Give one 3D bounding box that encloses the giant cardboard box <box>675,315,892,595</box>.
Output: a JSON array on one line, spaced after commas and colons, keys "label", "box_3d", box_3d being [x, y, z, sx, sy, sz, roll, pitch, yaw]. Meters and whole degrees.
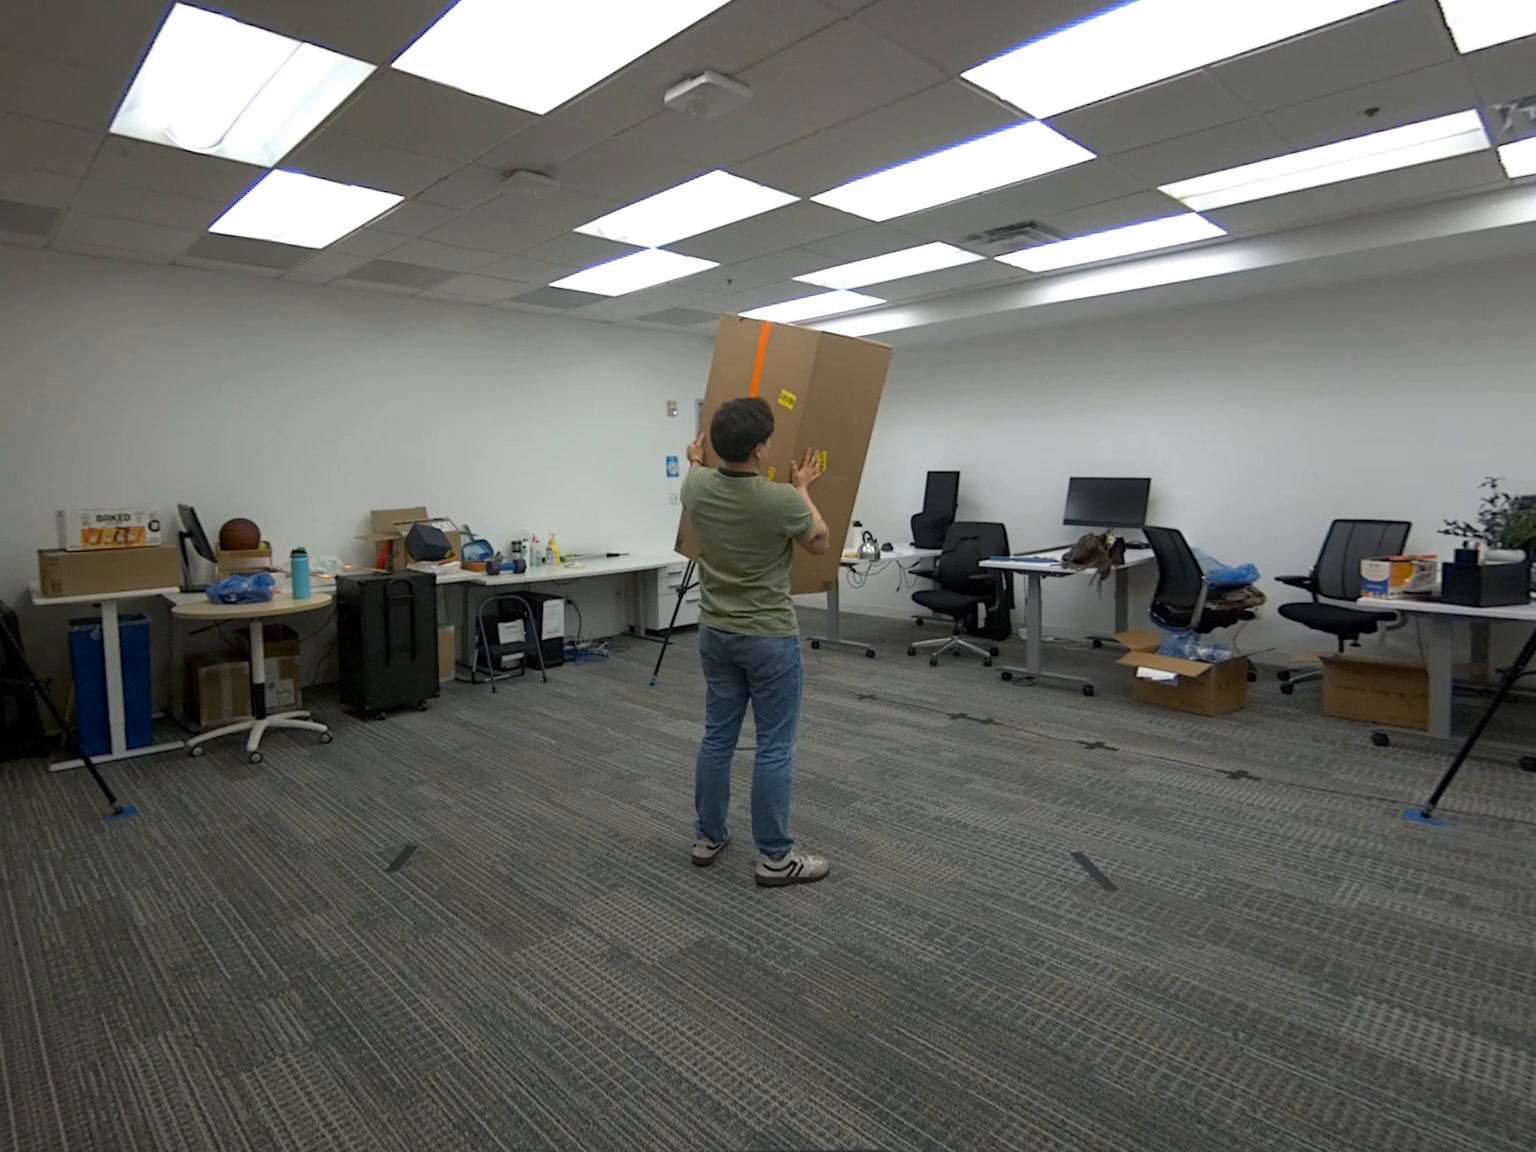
[{"label": "giant cardboard box", "box_3d": [0.039, -0.496, 3.505, 0.414, 1.016, 0.600, -1, 19, -44]}]
